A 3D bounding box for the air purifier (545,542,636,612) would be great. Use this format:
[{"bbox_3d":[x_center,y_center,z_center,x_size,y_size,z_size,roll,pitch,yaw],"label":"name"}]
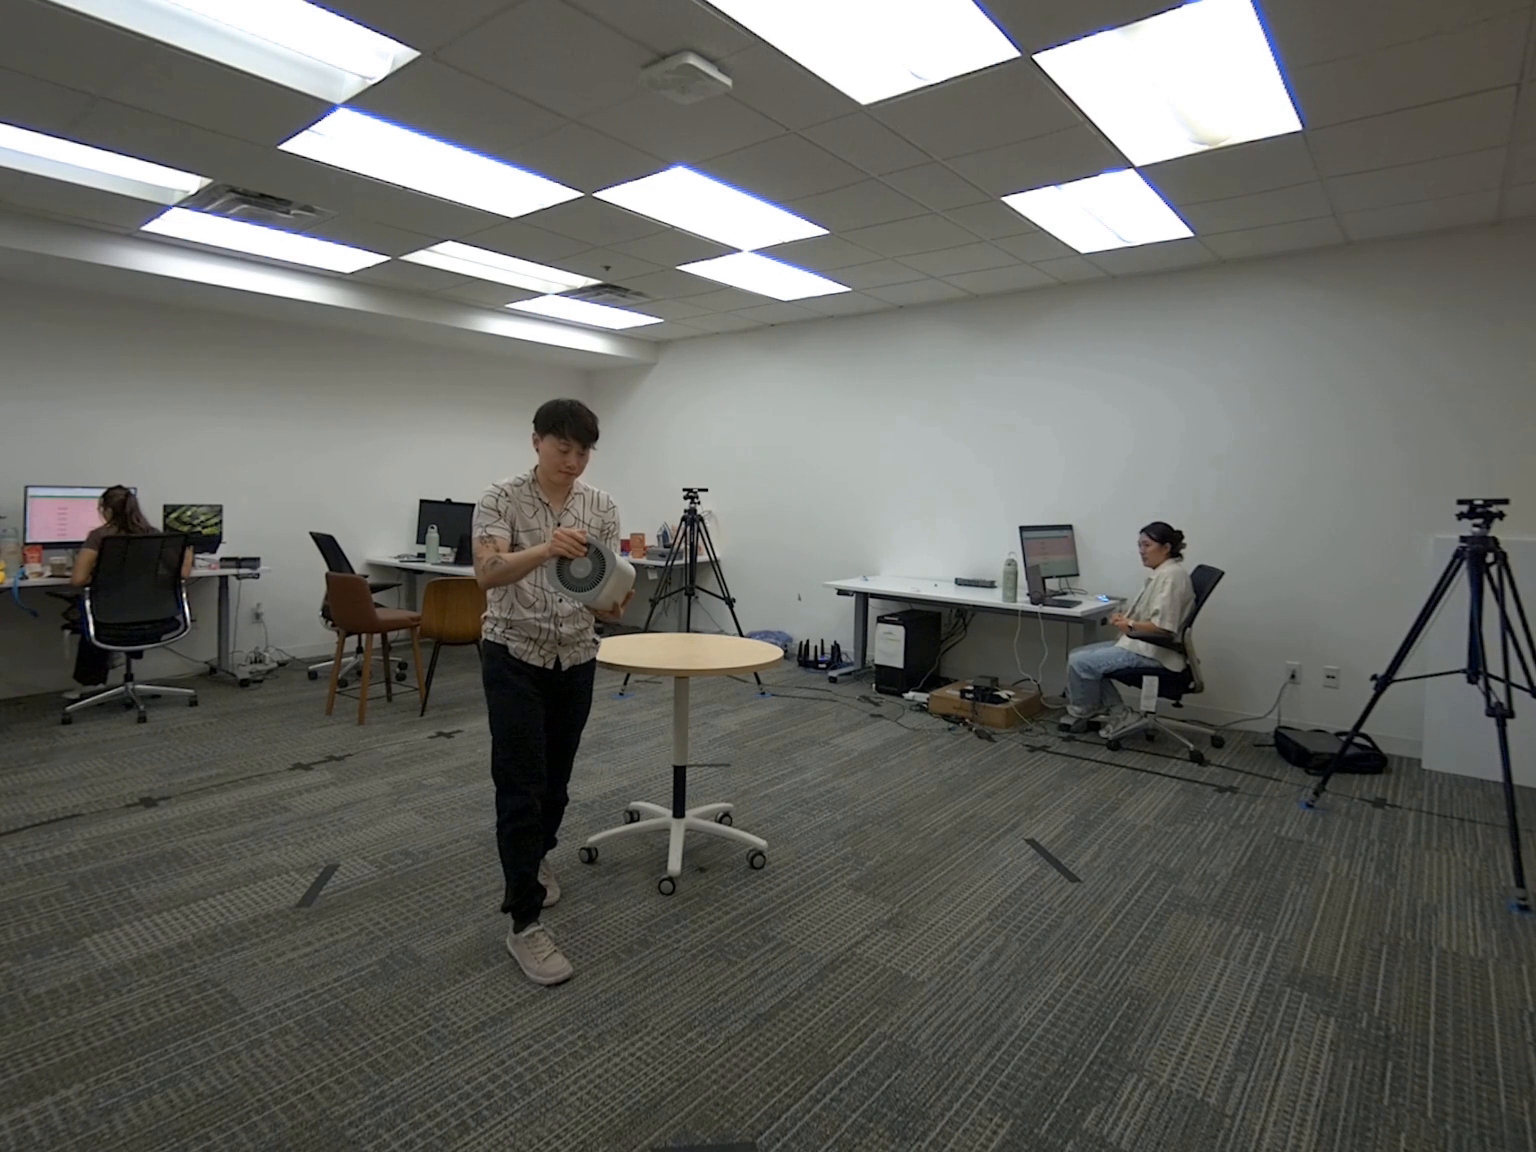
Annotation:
[{"bbox_3d":[-0.507,-0.004,2.423,0.173,0.172,0.261,27,-7,8],"label":"air purifier"}]
